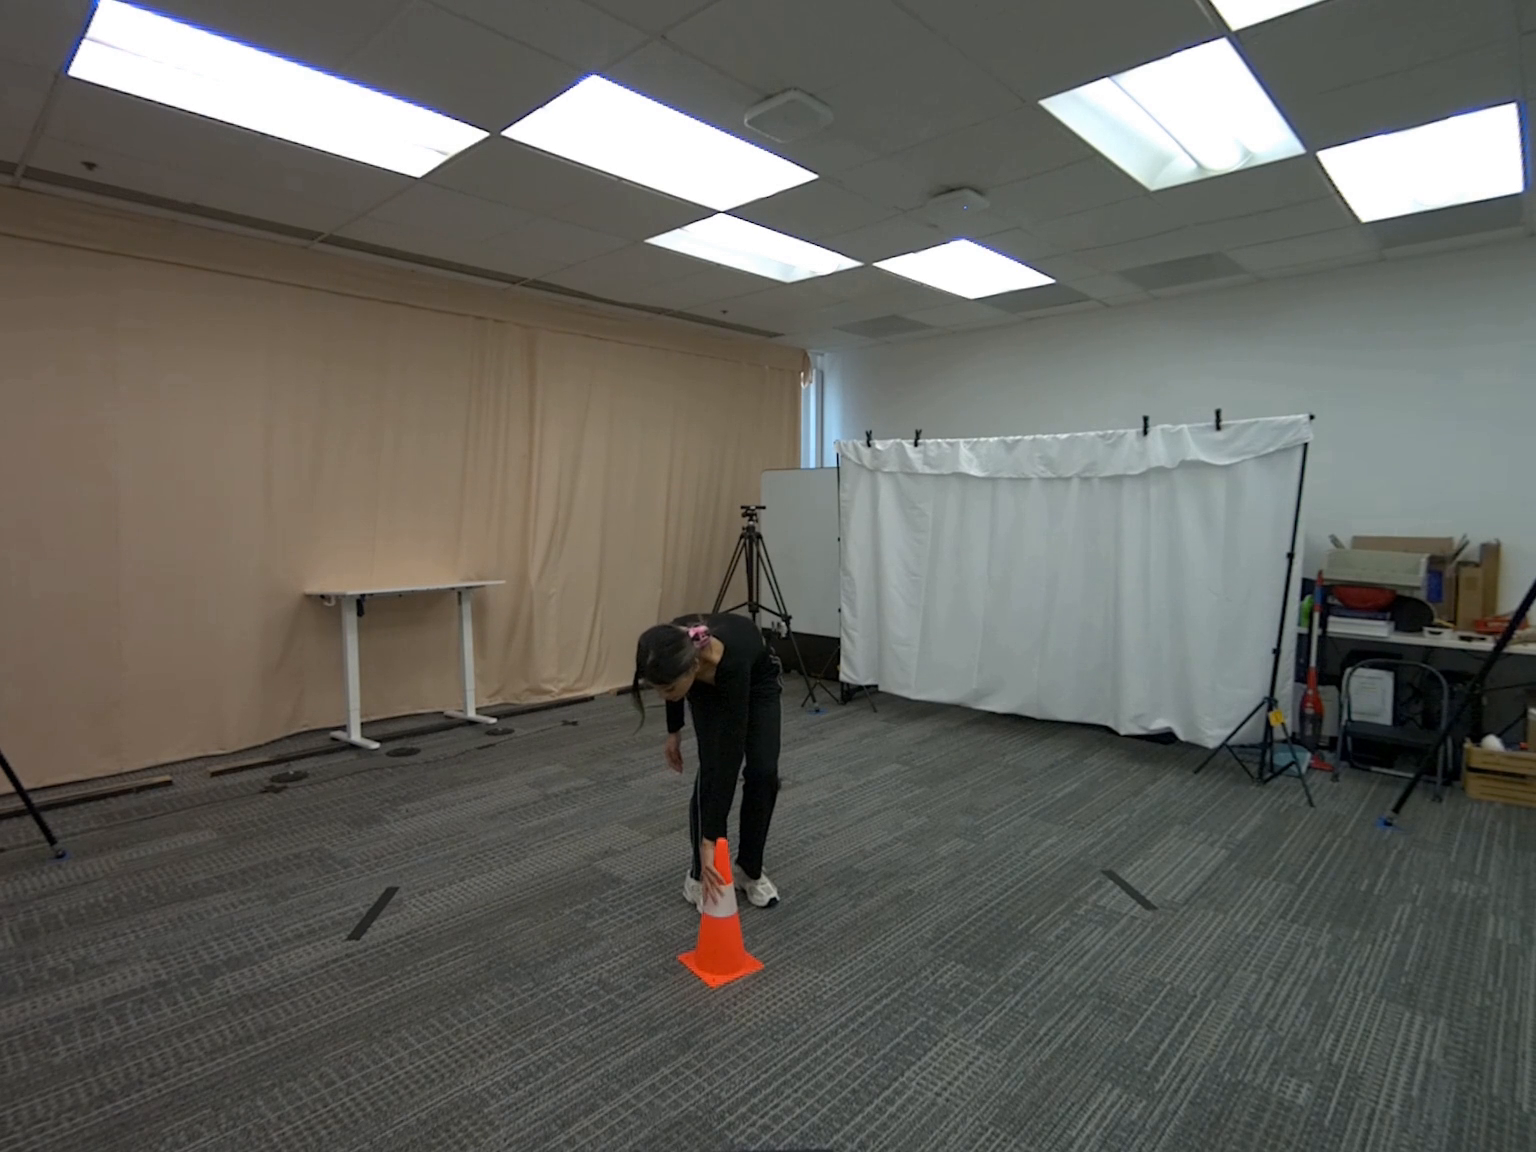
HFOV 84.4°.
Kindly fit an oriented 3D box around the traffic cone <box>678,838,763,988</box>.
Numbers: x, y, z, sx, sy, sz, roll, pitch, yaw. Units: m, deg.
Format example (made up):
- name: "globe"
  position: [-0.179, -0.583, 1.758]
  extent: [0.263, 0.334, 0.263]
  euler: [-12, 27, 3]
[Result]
- name: "traffic cone"
  position: [-0.139, 0.988, 2.561]
  extent: [0.199, 0.383, 0.210]
  euler: [-1, 4, -40]
